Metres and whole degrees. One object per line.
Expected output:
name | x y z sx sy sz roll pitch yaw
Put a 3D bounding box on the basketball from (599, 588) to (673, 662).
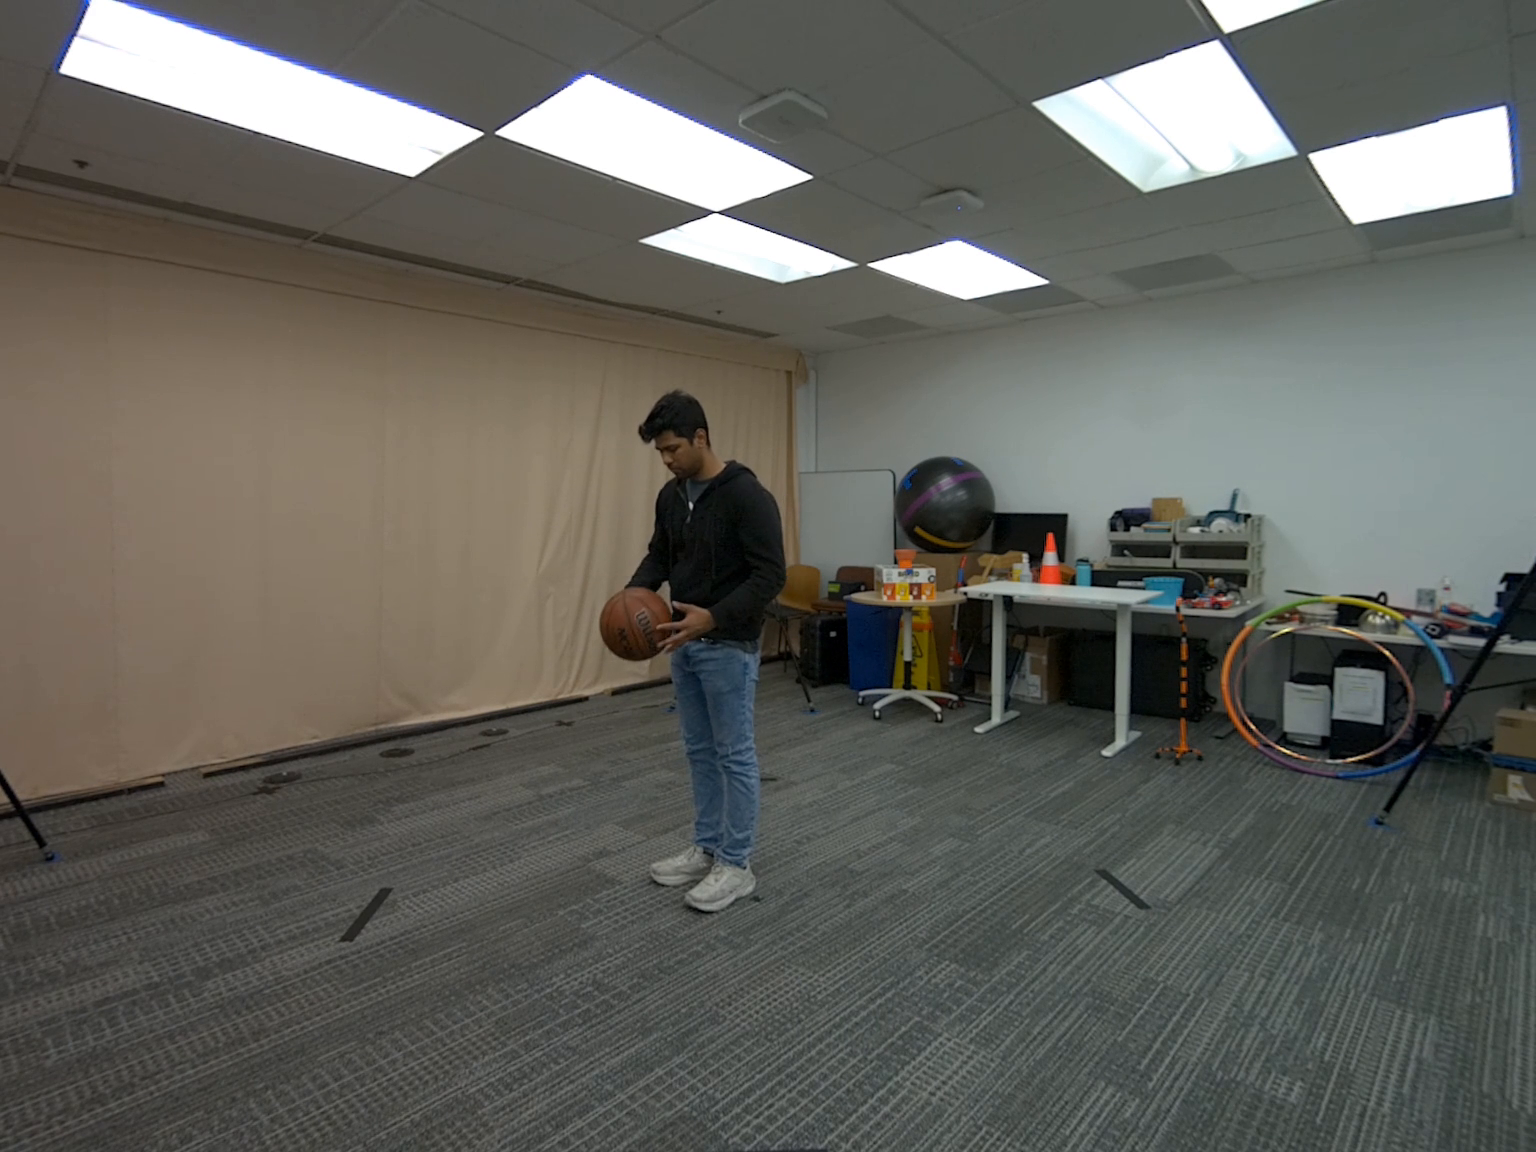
basketball | -0.408 0.166 2.740 0.236 0.235 0.237 0 4 -2
